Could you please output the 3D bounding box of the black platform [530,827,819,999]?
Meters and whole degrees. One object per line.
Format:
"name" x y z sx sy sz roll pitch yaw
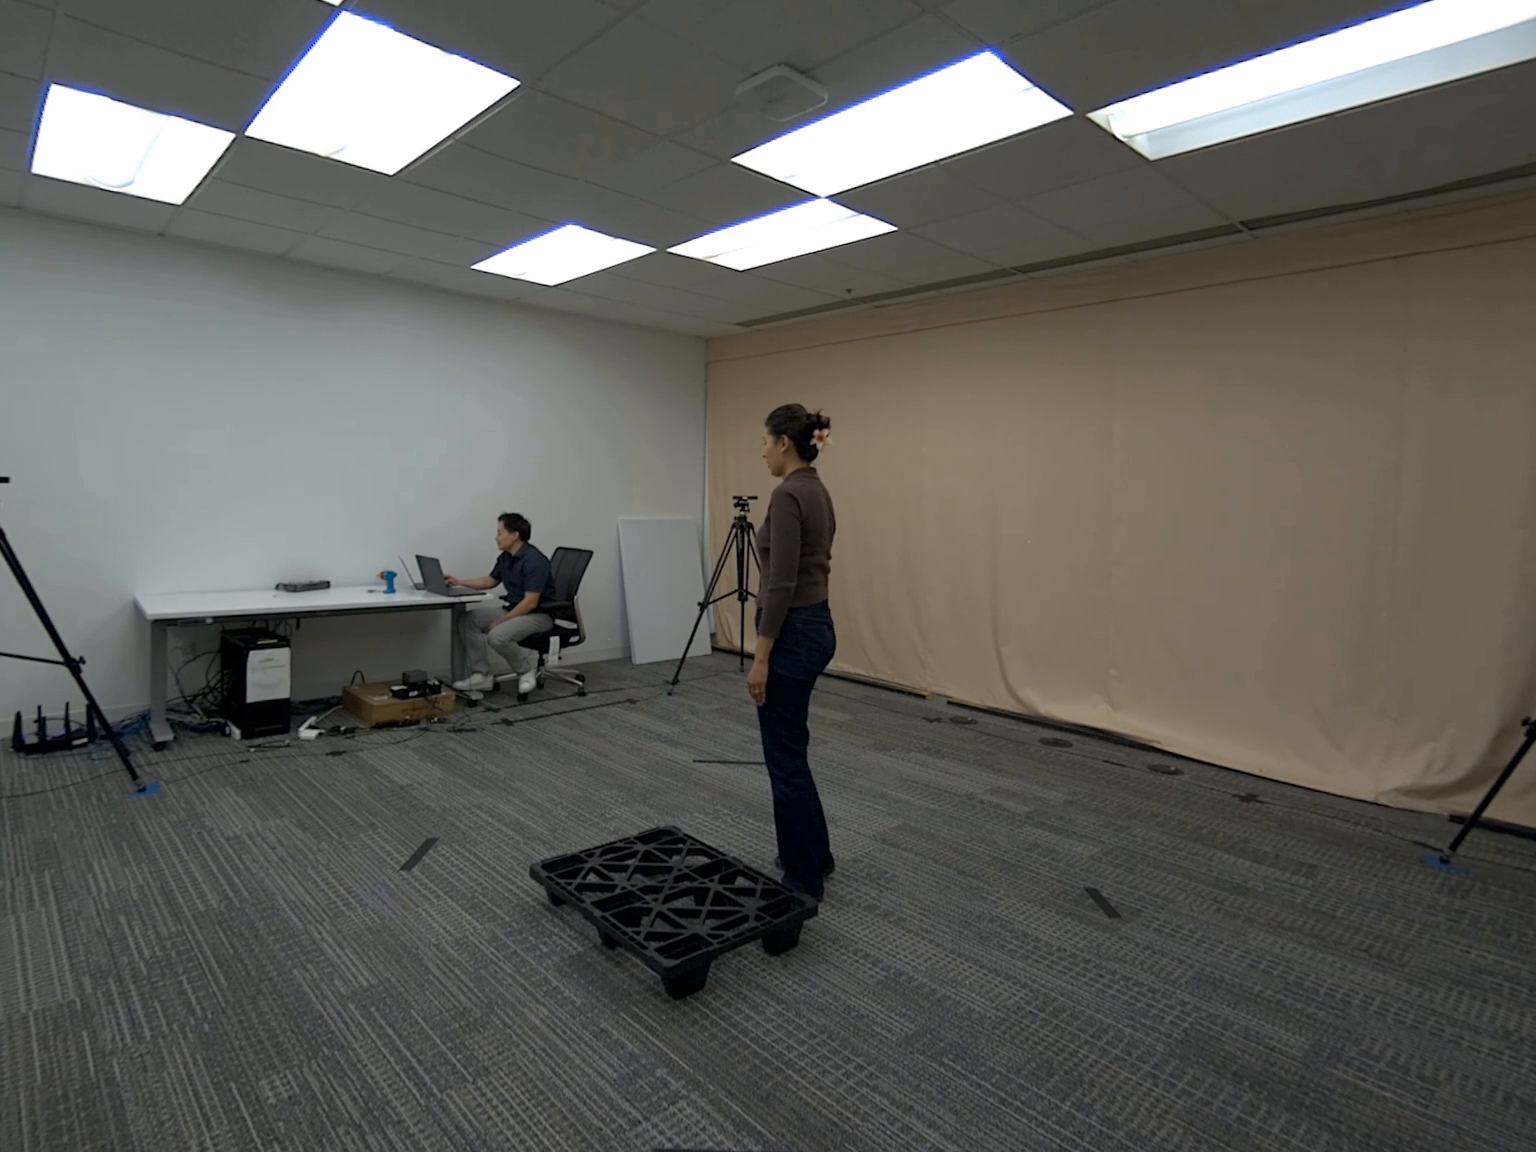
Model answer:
"black platform" -0.331 1.067 2.740 0.591 0.143 0.826 -2 7 -42
